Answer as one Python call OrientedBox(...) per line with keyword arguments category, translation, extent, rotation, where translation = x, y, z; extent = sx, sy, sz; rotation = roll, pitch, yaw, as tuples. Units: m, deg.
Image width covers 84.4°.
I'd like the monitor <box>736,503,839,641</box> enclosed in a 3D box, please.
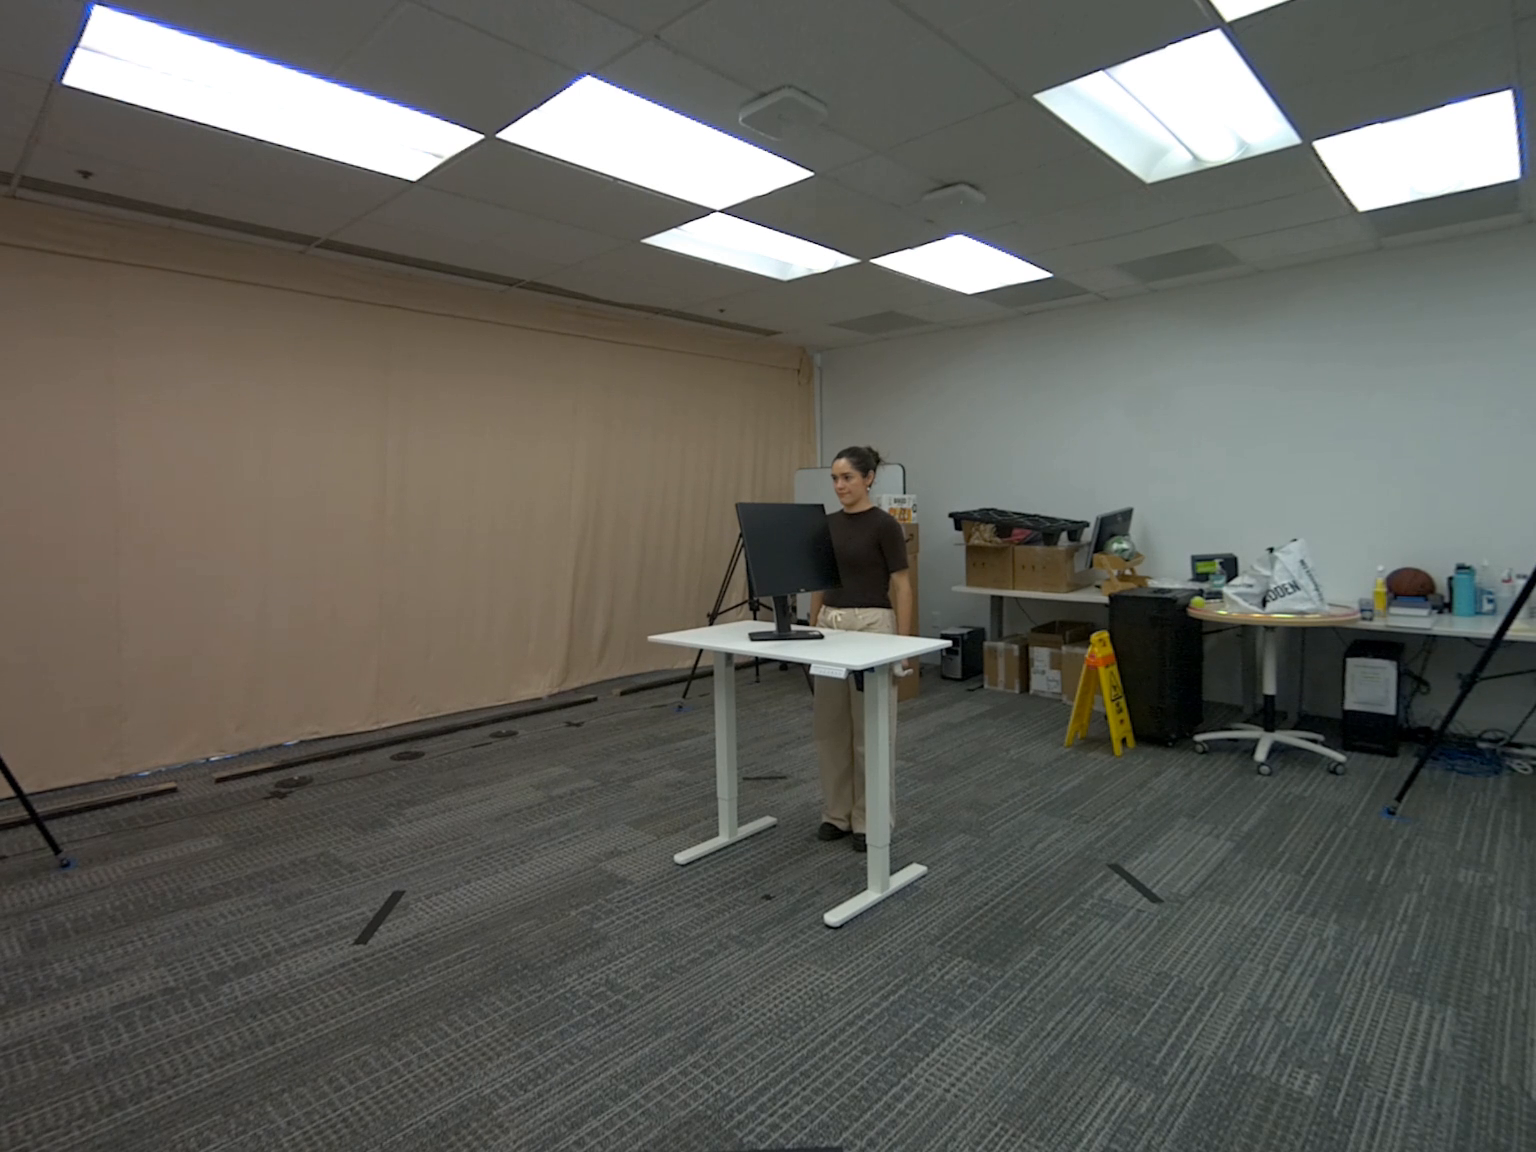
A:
OrientedBox(category="monitor", translation=(0.079, -0.018, 3.237), extent=(0.193, 0.522, 0.523), rotation=(2, 3, 36))
